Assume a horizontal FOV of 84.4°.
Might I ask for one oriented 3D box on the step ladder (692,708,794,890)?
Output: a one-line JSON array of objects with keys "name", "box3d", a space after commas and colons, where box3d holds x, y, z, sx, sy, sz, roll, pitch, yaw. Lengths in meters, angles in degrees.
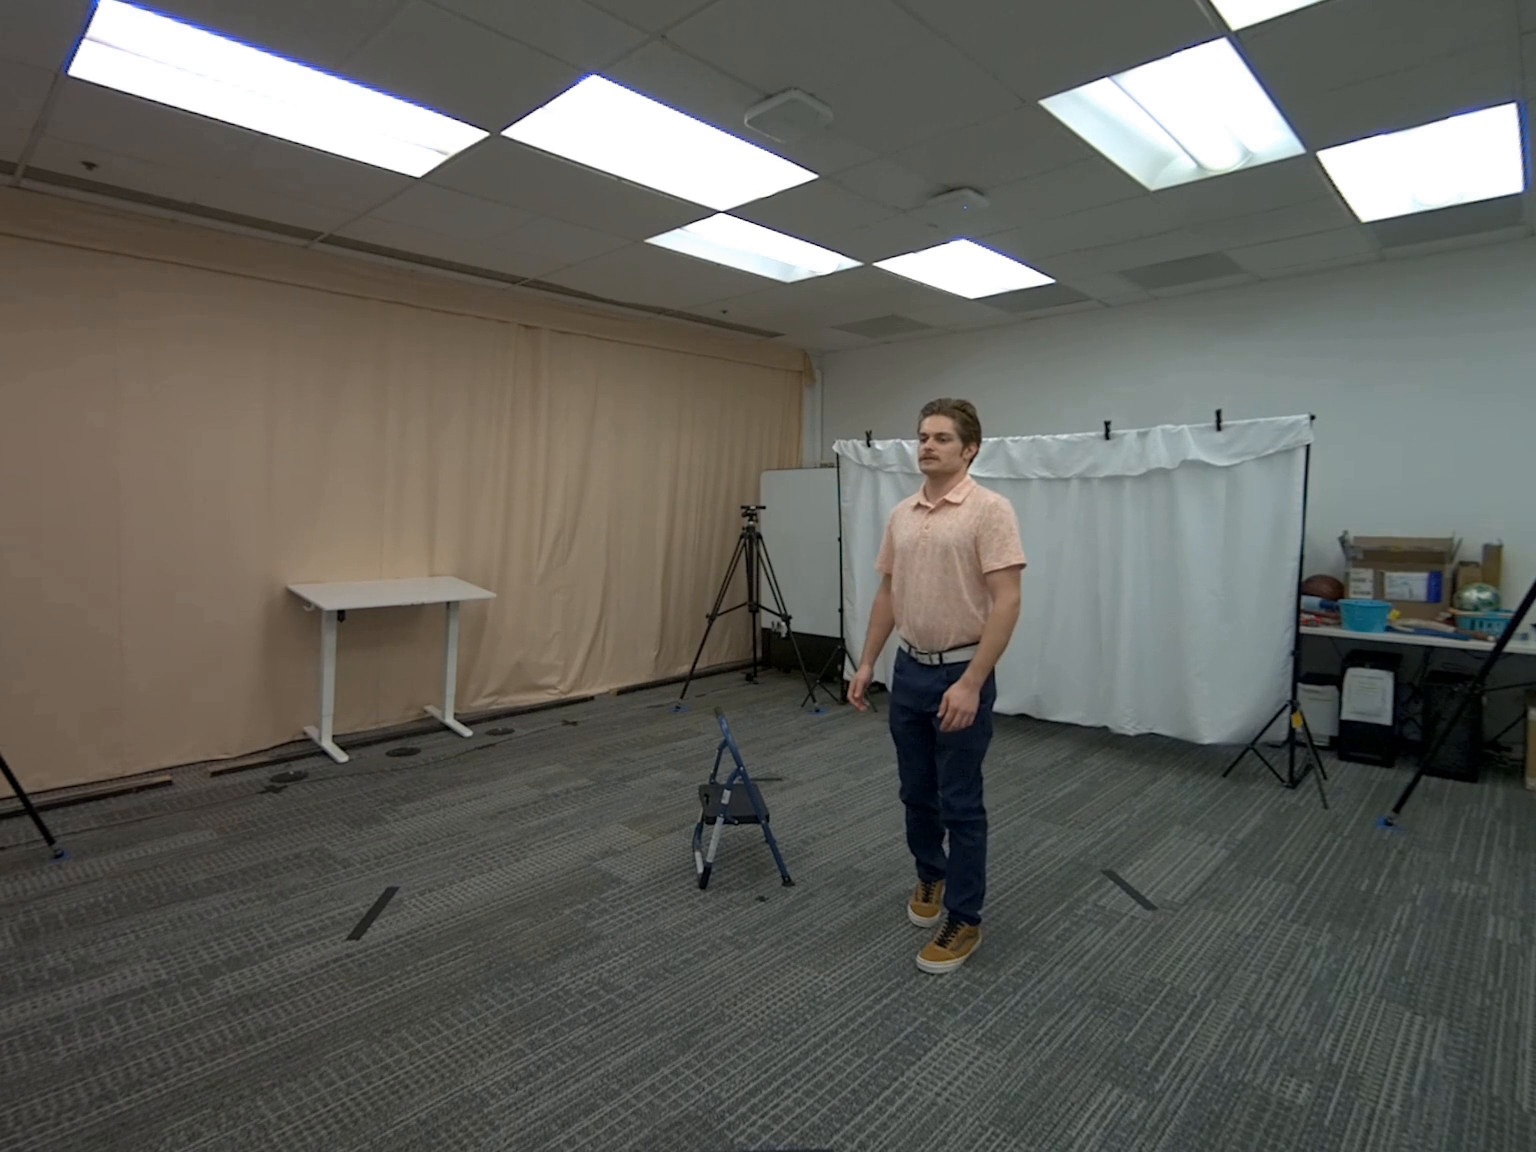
[{"name": "step ladder", "box3d": [-0.110, 0.820, 3.260, 0.346, 0.605, 0.435, -1, 3, -9]}]
